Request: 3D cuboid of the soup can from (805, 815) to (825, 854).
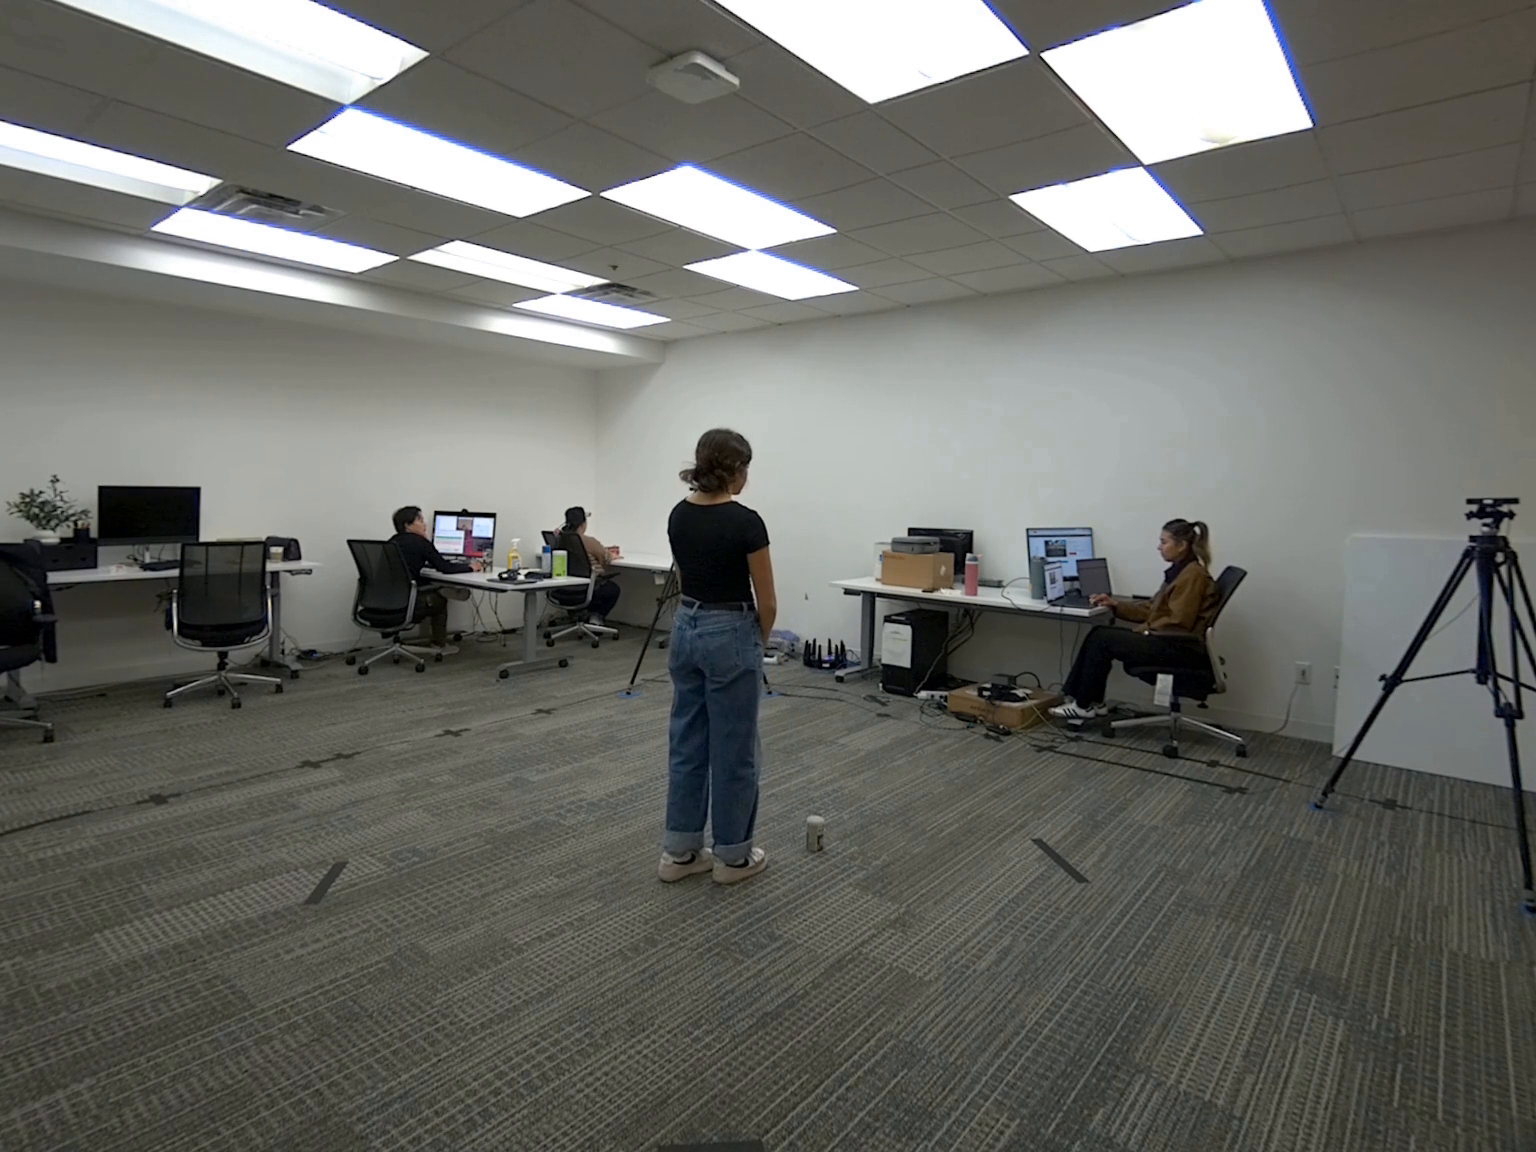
[{"bbox_3d":[0.174,1.002,3.294,0.067,0.121,0.067,5,5,-2],"label":"soup can"}]
